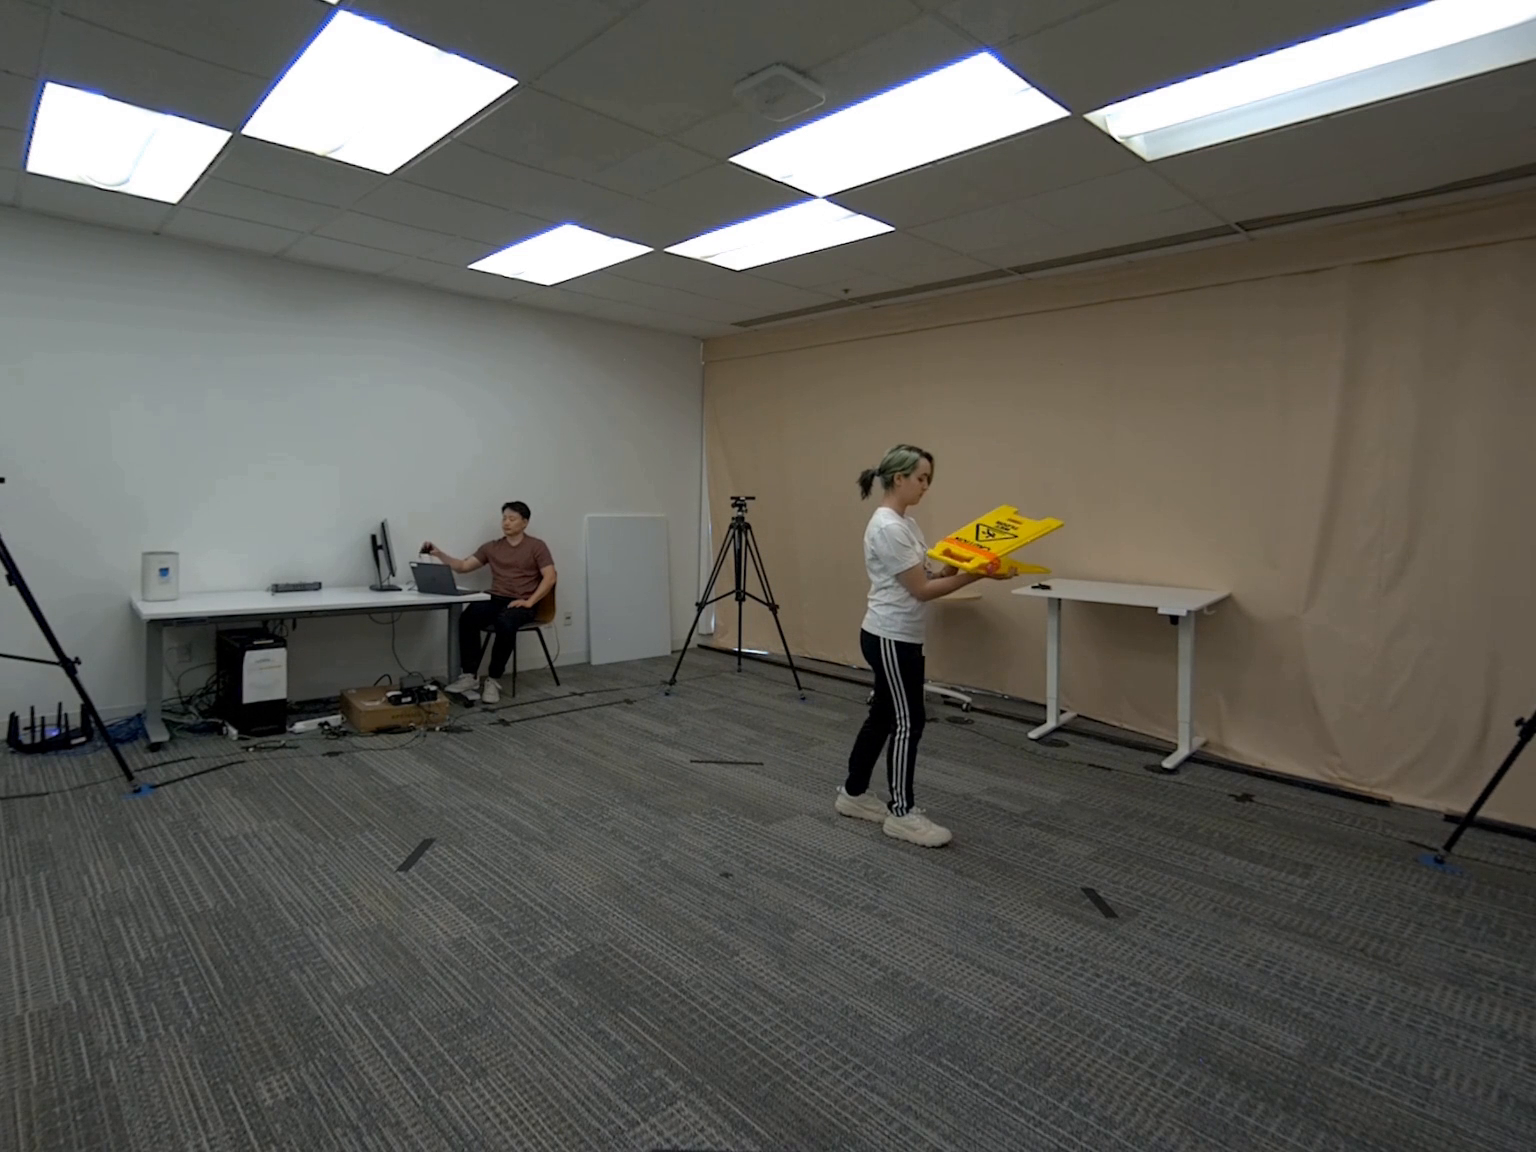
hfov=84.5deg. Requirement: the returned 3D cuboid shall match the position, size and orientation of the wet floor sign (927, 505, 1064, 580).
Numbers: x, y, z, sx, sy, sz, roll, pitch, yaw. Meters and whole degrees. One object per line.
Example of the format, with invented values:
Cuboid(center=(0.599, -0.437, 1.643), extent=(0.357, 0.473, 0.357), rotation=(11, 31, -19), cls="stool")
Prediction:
Cuboid(center=(0.878, -0.096, 3.339), extent=(0.290, 0.287, 0.633), rotation=(23, 21, 37), cls="wet floor sign")
